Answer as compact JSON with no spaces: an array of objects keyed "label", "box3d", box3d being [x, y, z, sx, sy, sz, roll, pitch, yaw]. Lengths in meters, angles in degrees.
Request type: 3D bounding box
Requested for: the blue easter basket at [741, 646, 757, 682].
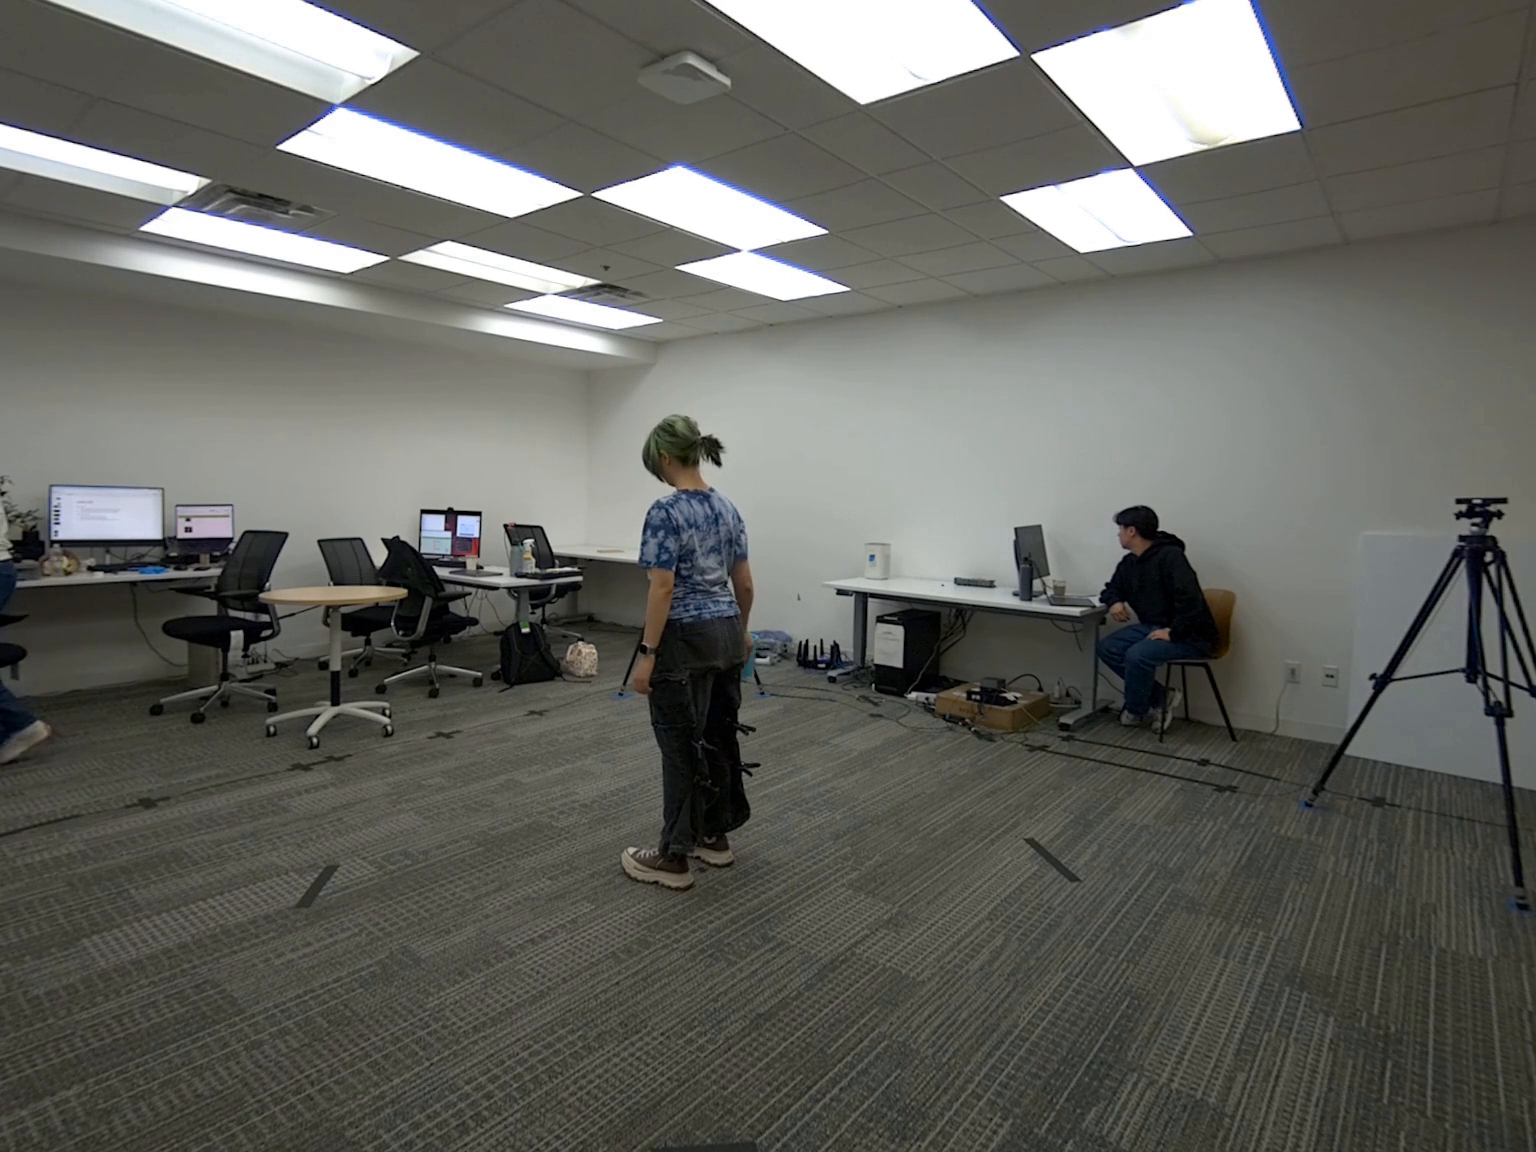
[{"label":"blue easter basket","box3d":[-0.156,0.318,3.490,0.243,0.155,0.245,-4,6,-2]}]
